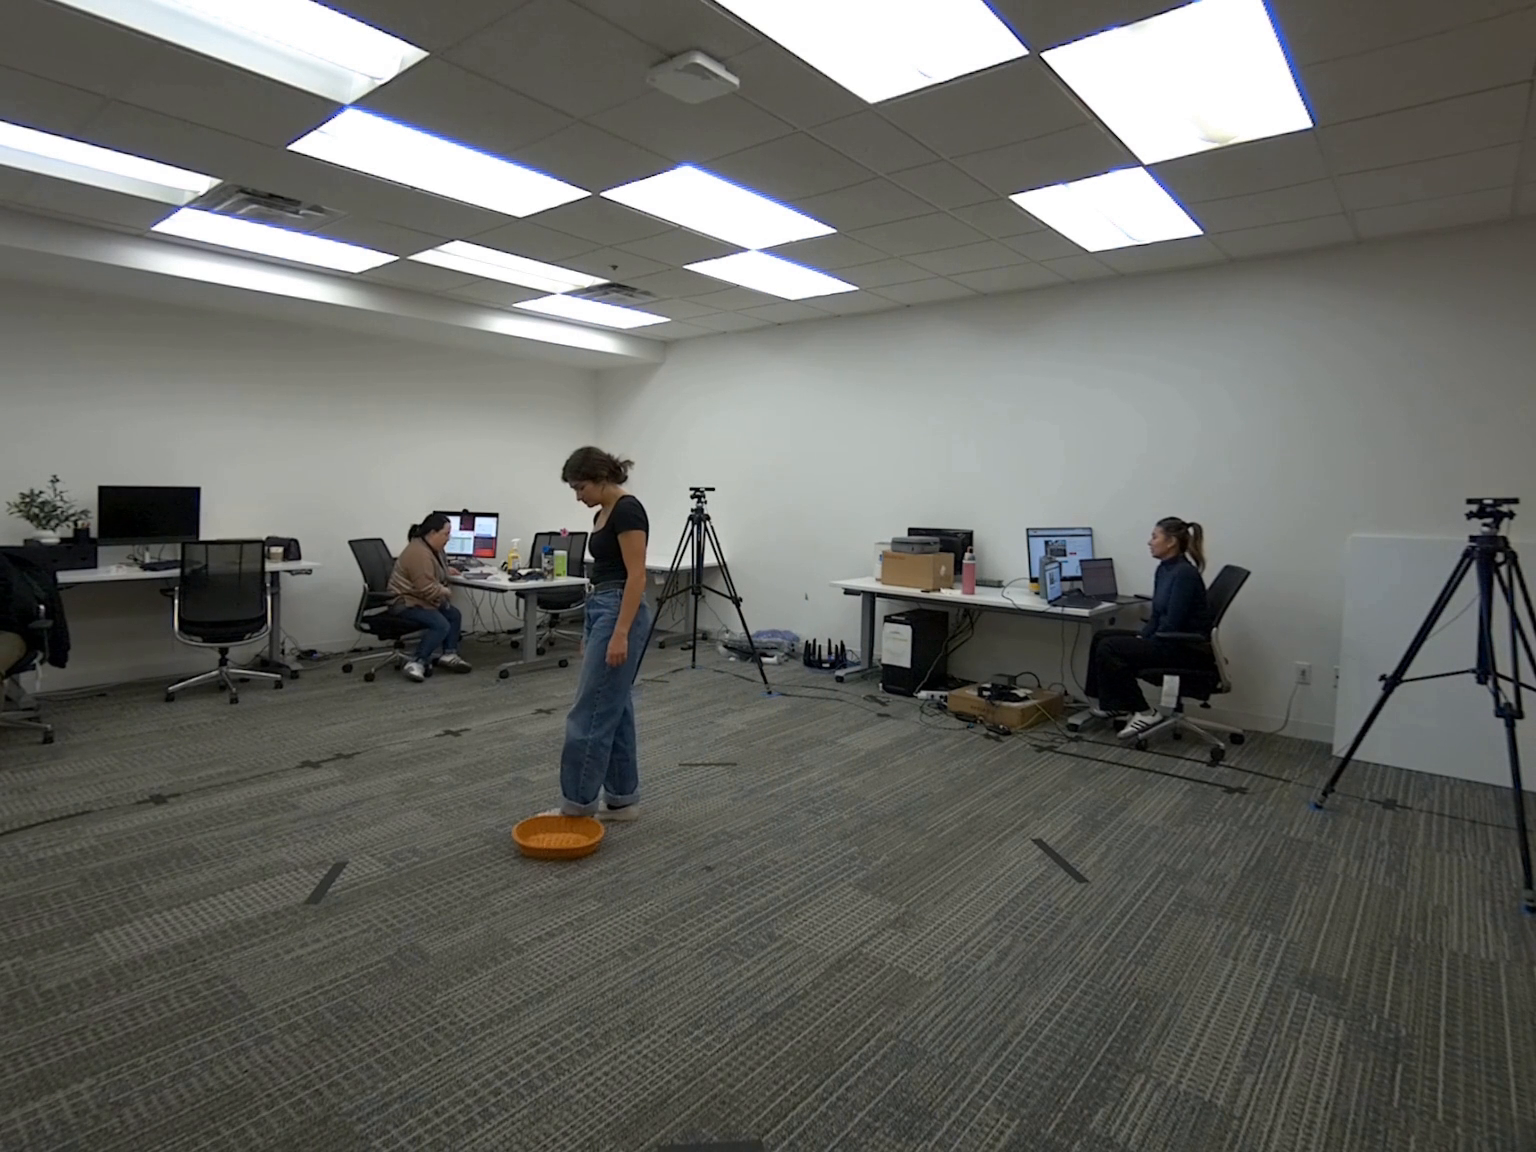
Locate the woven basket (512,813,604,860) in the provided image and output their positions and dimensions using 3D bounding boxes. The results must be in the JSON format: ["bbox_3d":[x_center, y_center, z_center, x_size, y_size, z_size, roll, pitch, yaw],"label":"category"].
[{"bbox_3d":[-0.803,0.999,3.241,0.350,0.073,0.255,2,10,-1],"label":"woven basket"}]
